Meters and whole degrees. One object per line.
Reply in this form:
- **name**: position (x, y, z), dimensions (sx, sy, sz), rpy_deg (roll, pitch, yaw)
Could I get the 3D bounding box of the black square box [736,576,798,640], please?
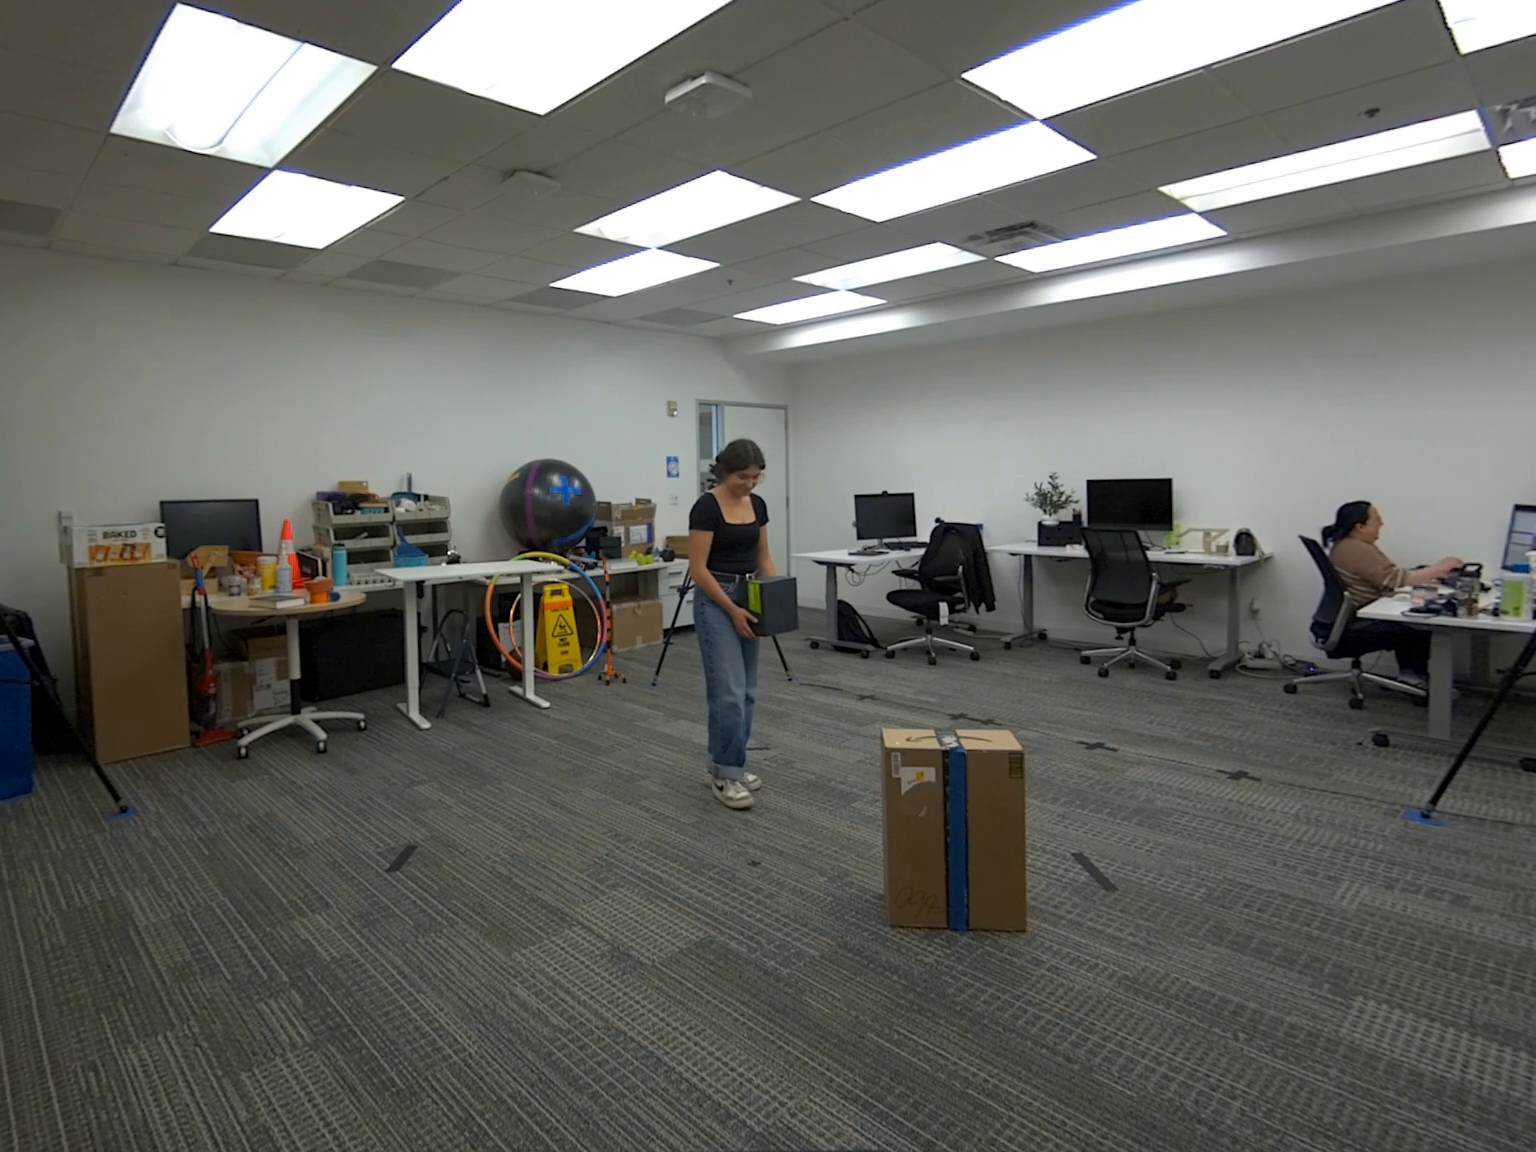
- **black square box**: position (-0.006, 0.128, 3.666), dimensions (0.161, 0.227, 0.211), rpy_deg (4, 8, 44)
